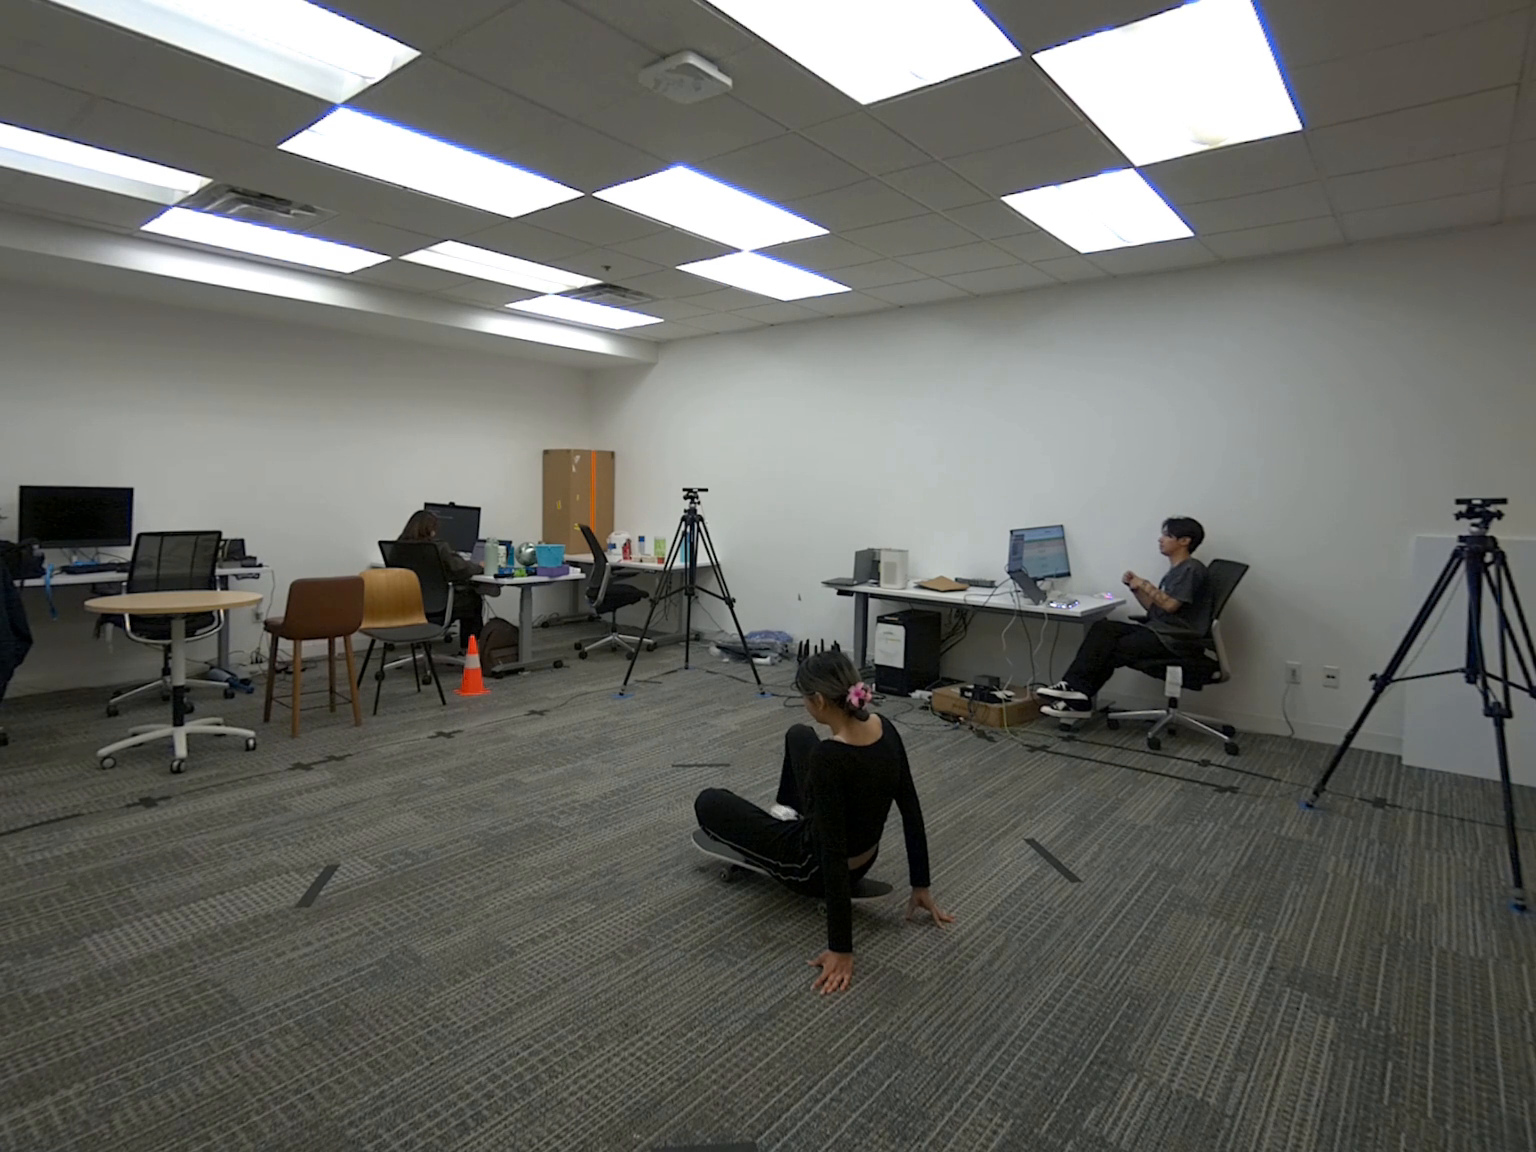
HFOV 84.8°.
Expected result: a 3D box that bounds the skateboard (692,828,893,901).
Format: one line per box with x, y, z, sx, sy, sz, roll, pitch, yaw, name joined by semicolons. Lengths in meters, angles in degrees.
0.045;1.027;2.971;0.811;0.110;0.188;6;4;35;skateboard
